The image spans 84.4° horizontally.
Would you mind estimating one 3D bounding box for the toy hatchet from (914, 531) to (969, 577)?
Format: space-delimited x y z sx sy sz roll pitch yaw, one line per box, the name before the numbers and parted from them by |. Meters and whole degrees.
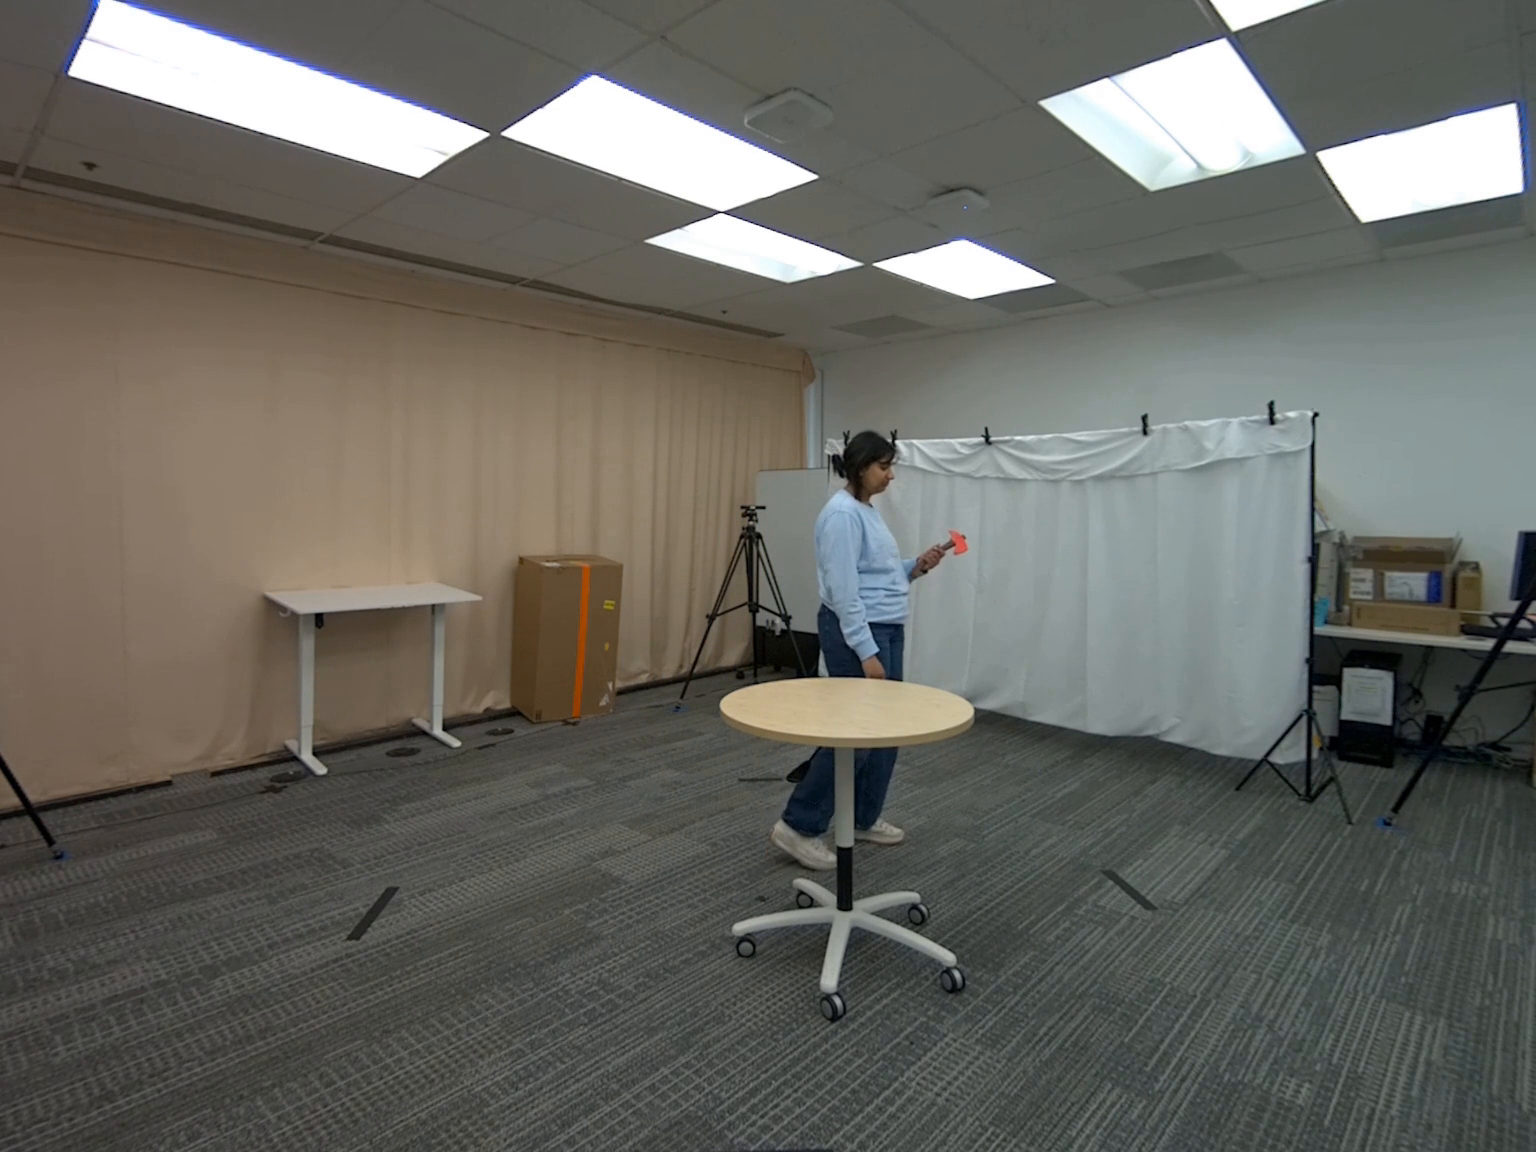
toy hatchet | 0.703 -0.068 3.374 0.136 0.269 0.028 38 -9 40
